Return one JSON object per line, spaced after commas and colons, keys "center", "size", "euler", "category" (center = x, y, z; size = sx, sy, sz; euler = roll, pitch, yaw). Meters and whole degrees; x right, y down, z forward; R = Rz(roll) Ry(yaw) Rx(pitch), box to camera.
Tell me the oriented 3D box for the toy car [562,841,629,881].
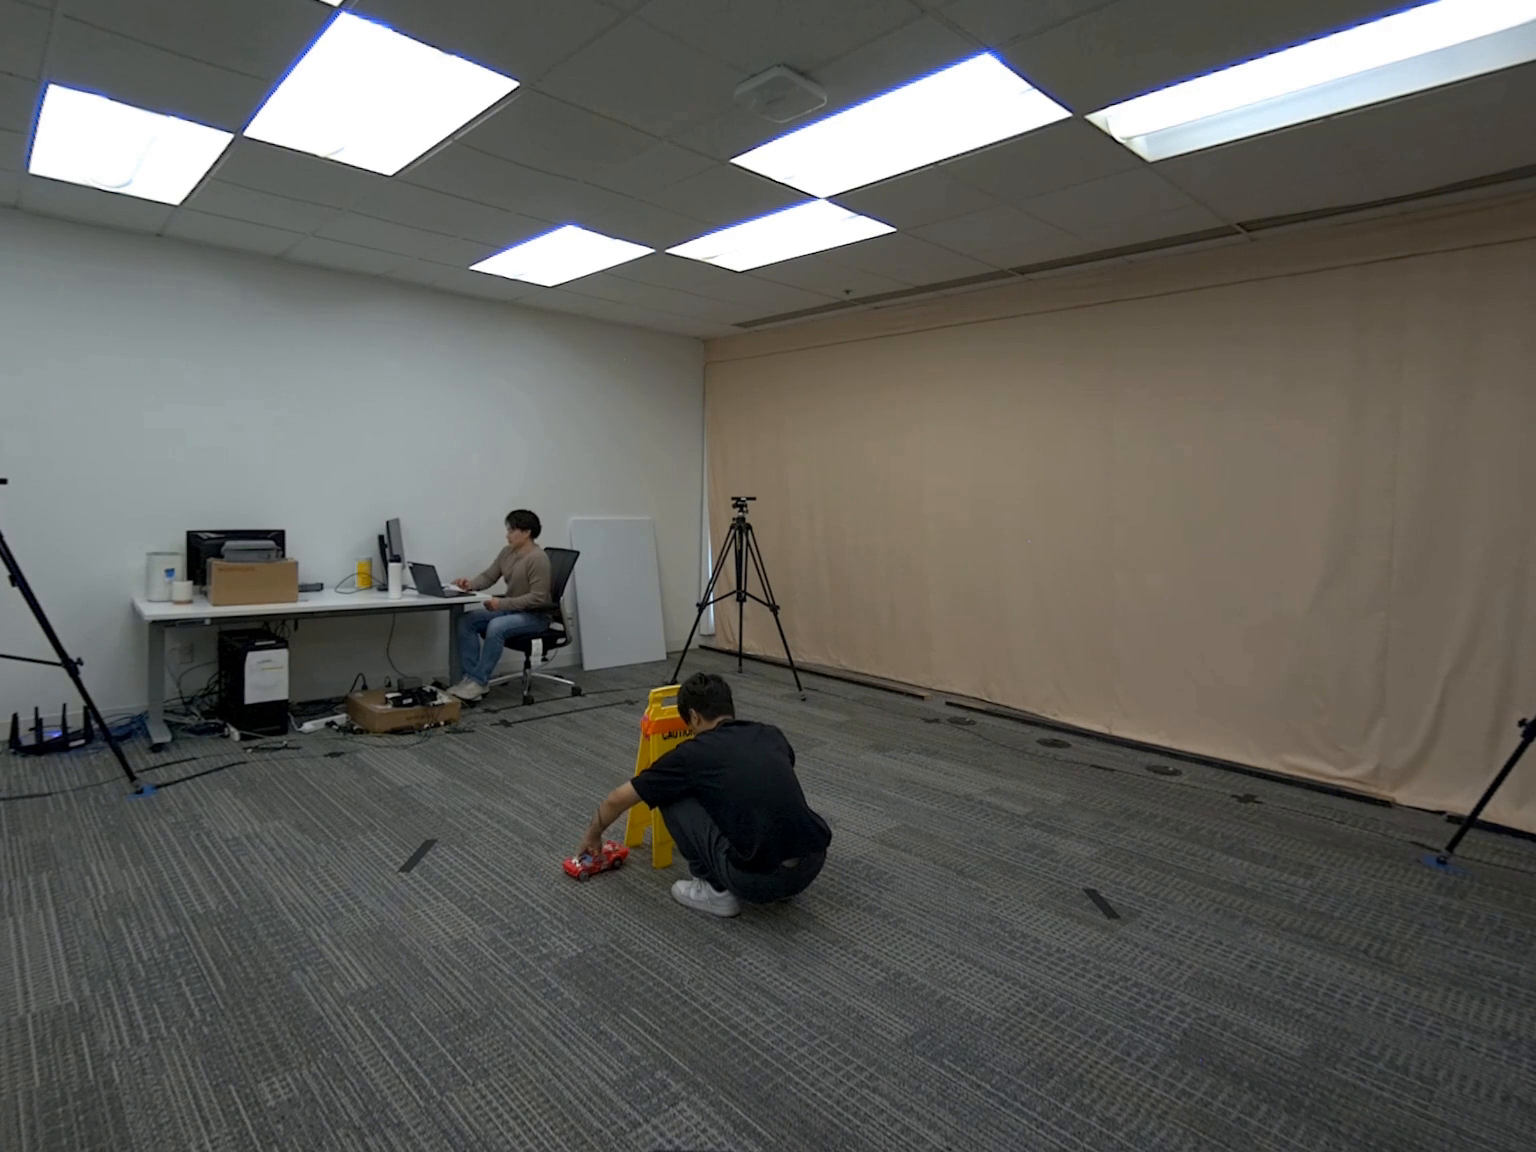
{"center": [-0.637, 1.054, 3.140], "size": [0.250, 0.082, 0.133], "euler": [-18, 16, -42], "category": "toy car"}
